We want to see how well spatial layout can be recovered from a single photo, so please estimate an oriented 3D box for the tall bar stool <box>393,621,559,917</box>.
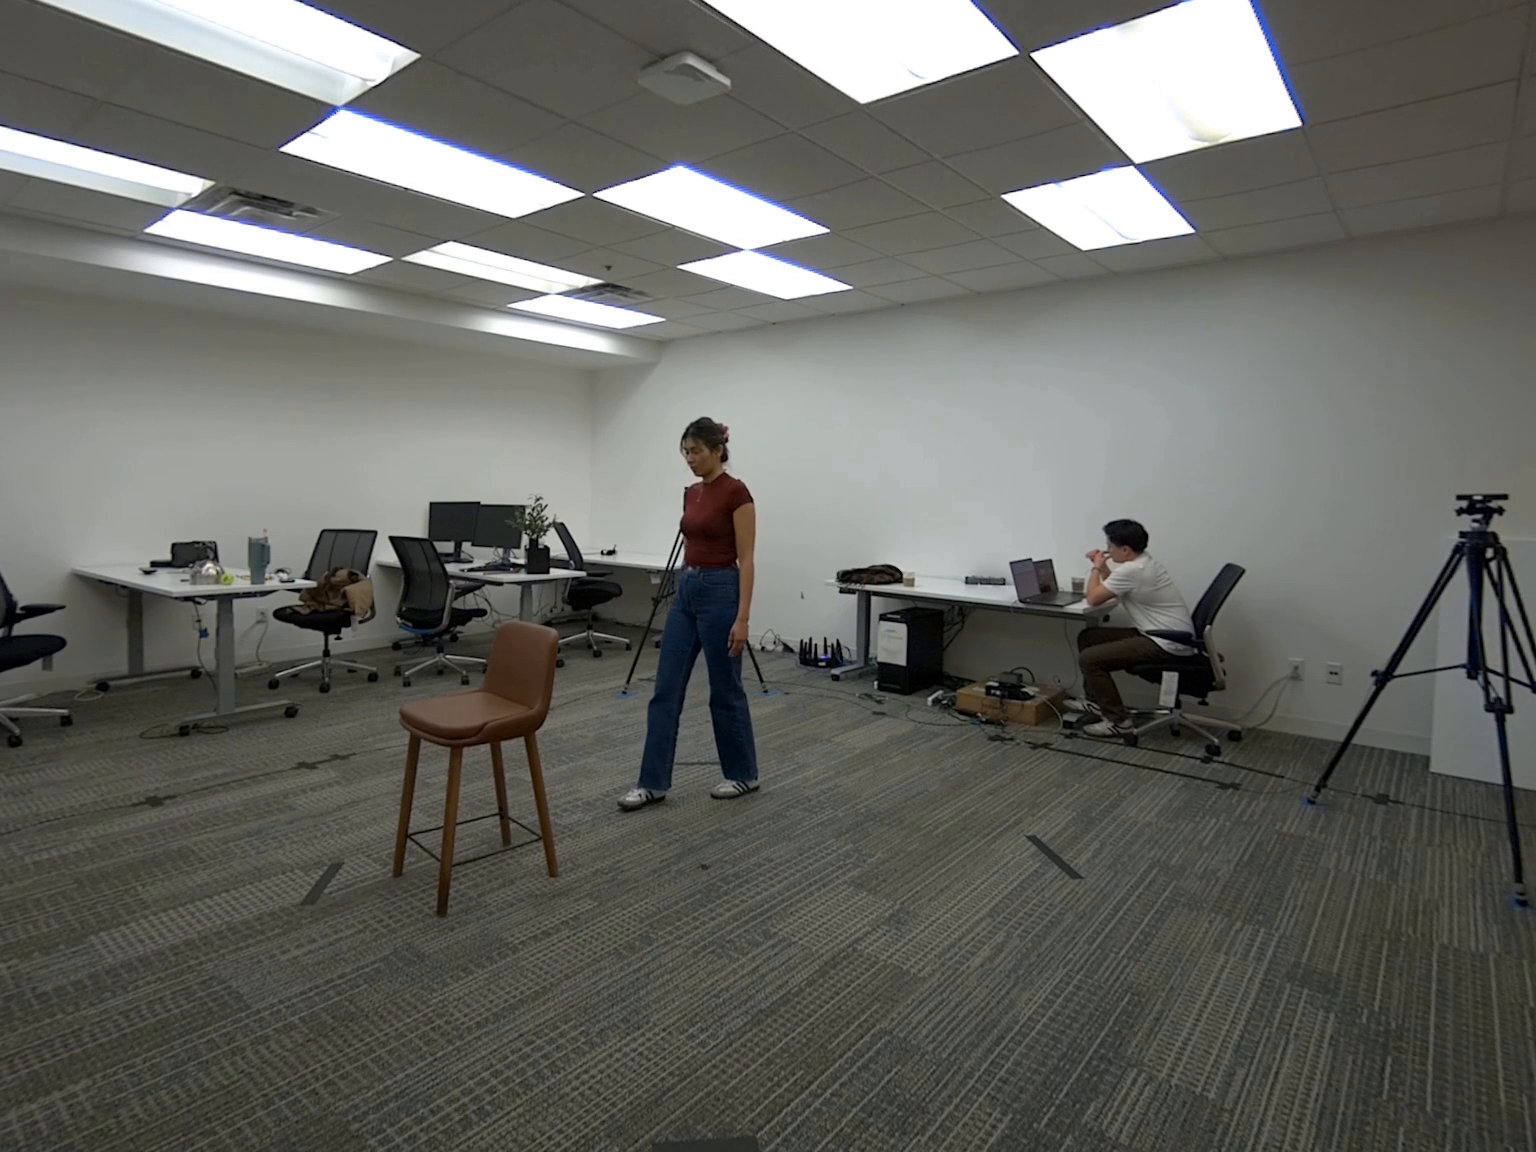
[{"bbox_3d":[-1.039,0.633,3.004,0.453,0.888,0.472,-1,3,-44],"label":"tall bar stool"}]
